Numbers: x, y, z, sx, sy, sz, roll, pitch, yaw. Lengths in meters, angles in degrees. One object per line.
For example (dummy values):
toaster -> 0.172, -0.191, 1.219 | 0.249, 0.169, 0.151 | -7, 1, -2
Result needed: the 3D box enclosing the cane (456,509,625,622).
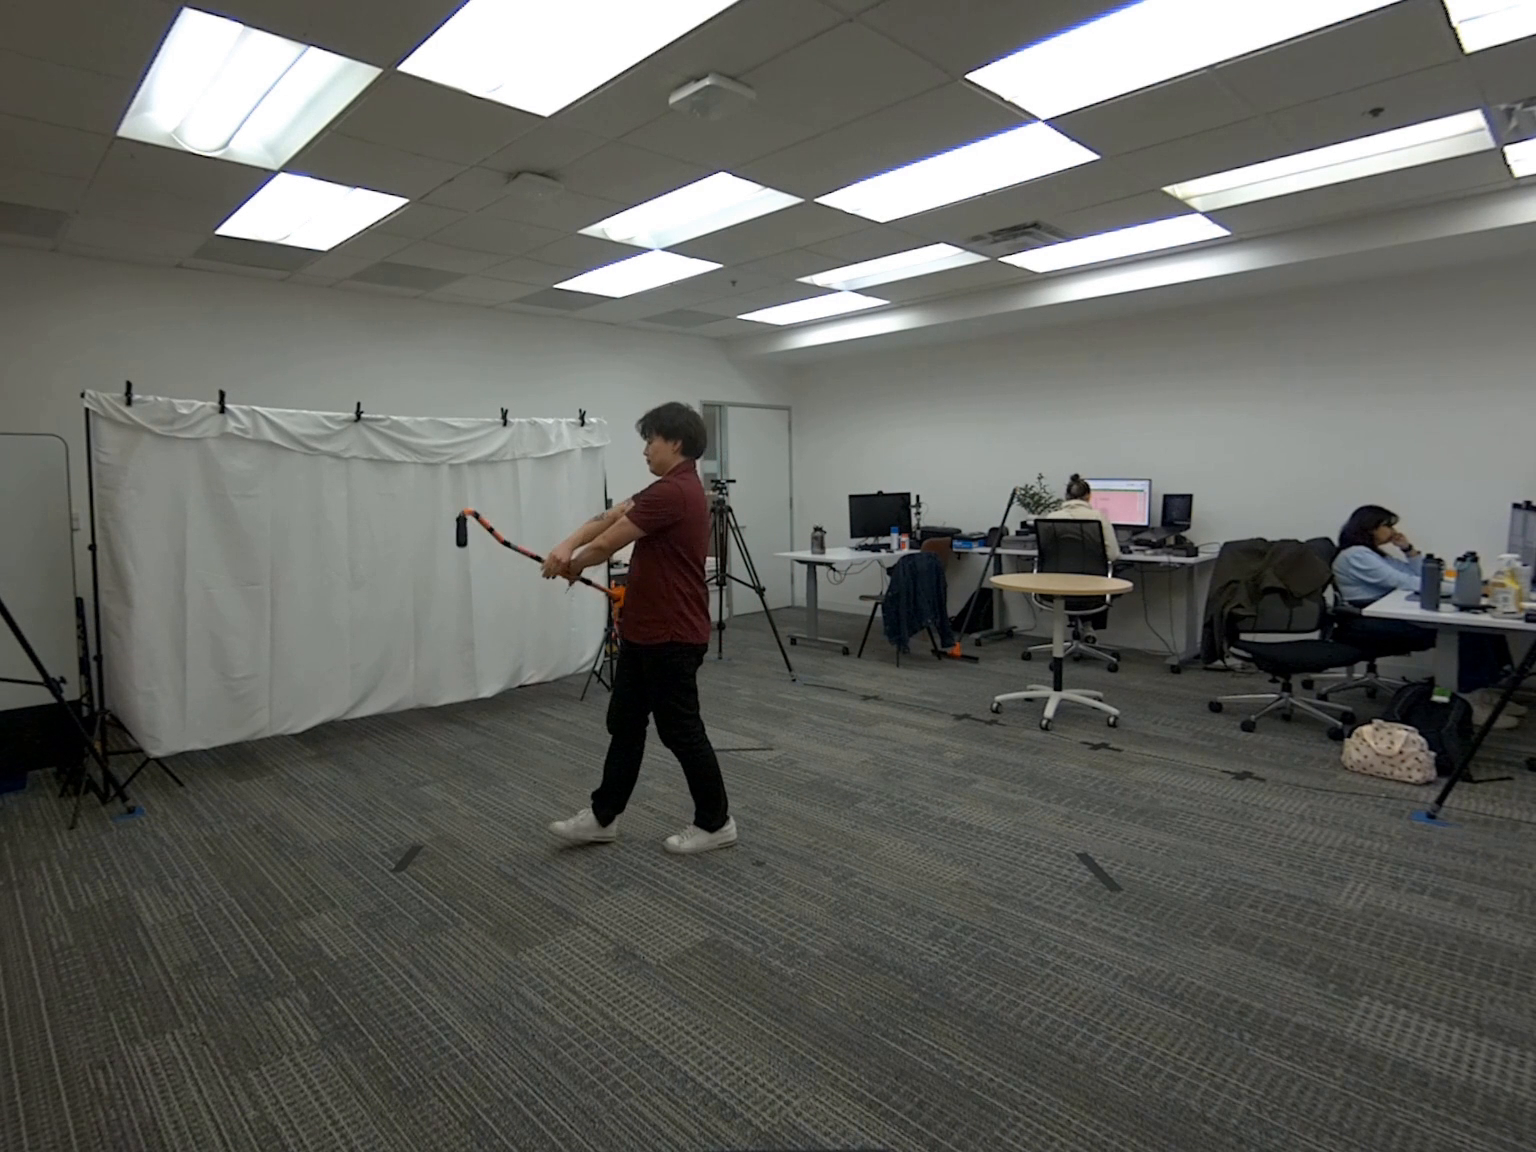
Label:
cane -> -0.812, -0.049, 3.188 | 0.153, 0.212, 0.874 | -21, -29, 23
